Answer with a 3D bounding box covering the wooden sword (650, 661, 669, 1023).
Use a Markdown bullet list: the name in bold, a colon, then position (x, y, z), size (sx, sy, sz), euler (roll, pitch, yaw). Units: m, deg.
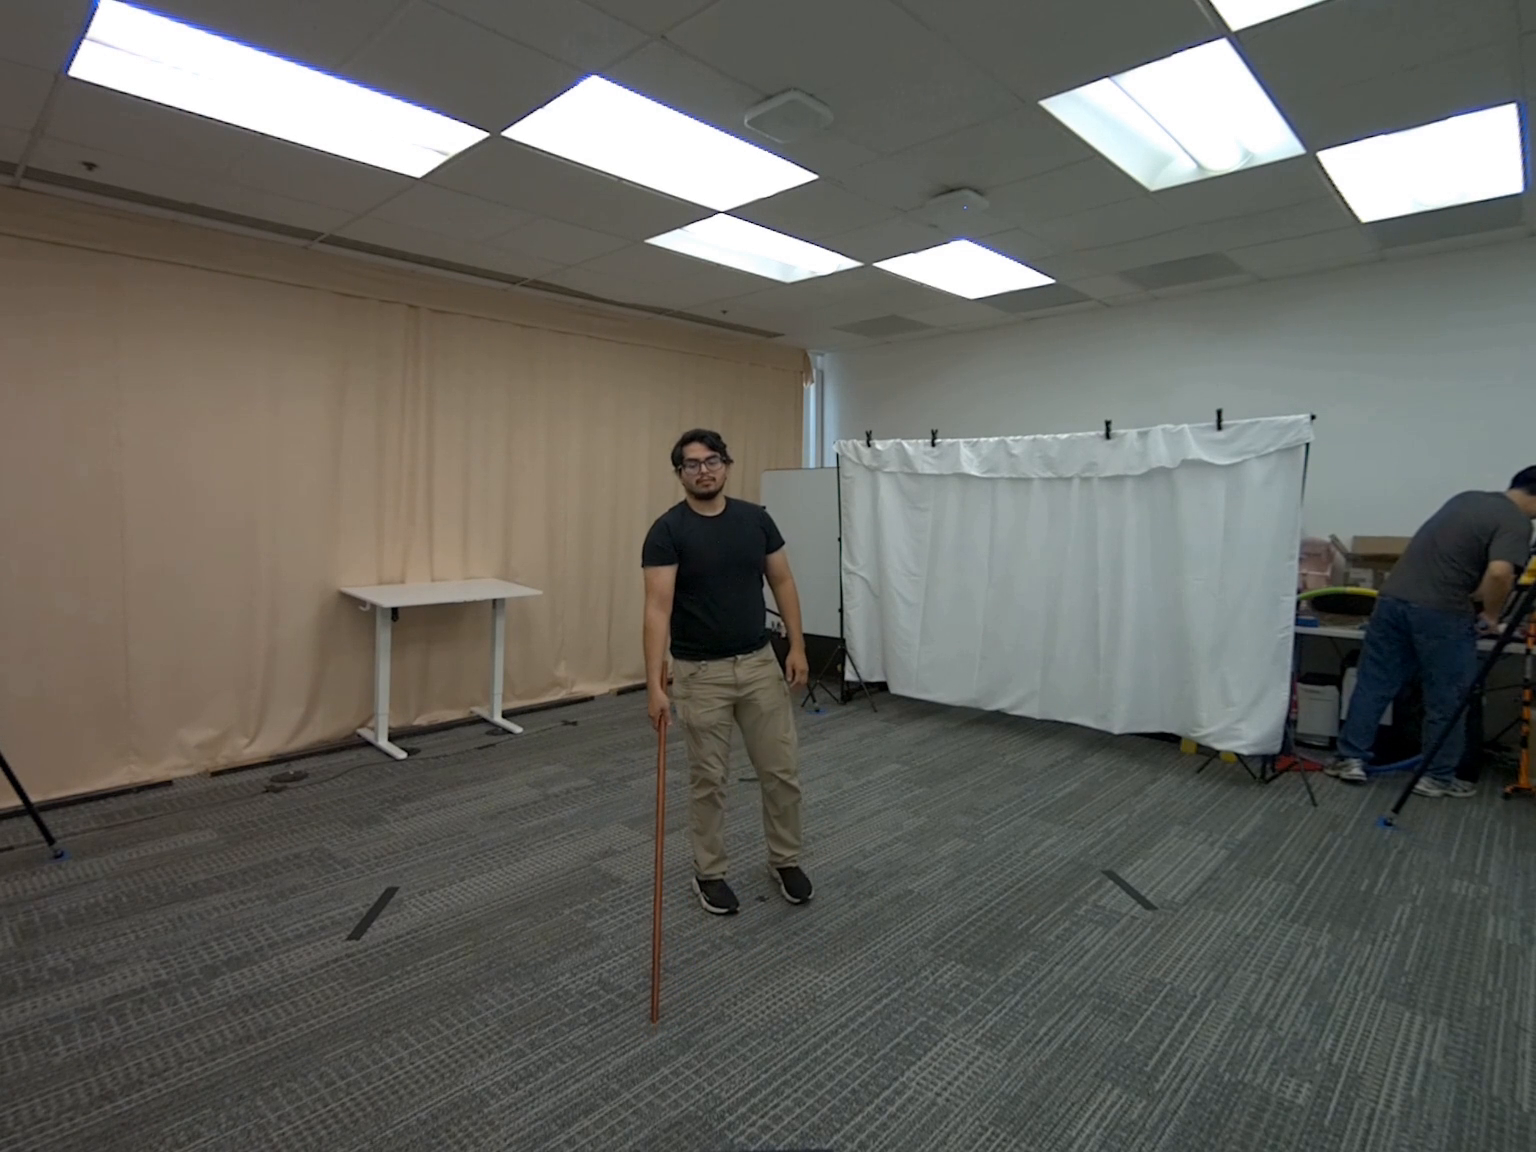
- **wooden sword**: position (-0.308, 0.754, 2.540), size (0.024, 1.043, 0.050), euler (-3, -30, 0)
